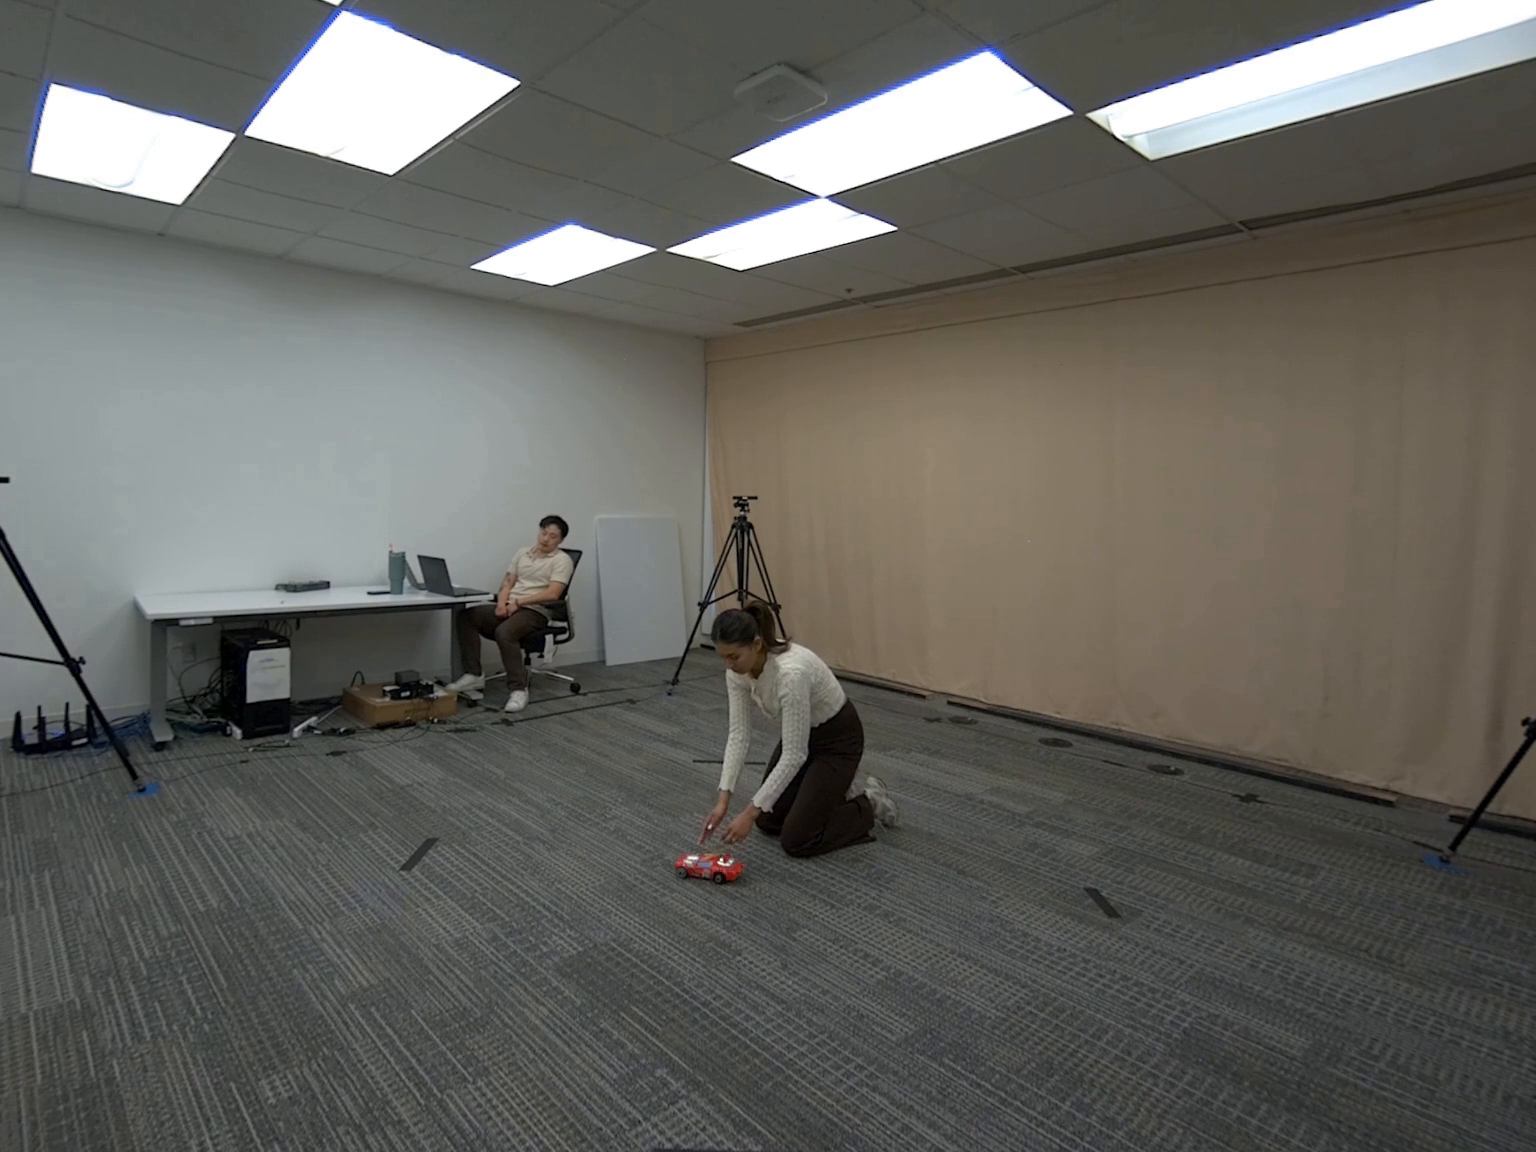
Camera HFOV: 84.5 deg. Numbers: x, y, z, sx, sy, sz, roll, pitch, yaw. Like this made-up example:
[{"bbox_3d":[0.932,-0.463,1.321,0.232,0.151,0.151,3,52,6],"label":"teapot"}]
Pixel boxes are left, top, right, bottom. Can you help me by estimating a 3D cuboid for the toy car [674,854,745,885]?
[{"bbox_3d":[-0.217,1.073,3.085,0.257,0.083,0.129,-10,2,18],"label":"toy car"}]
